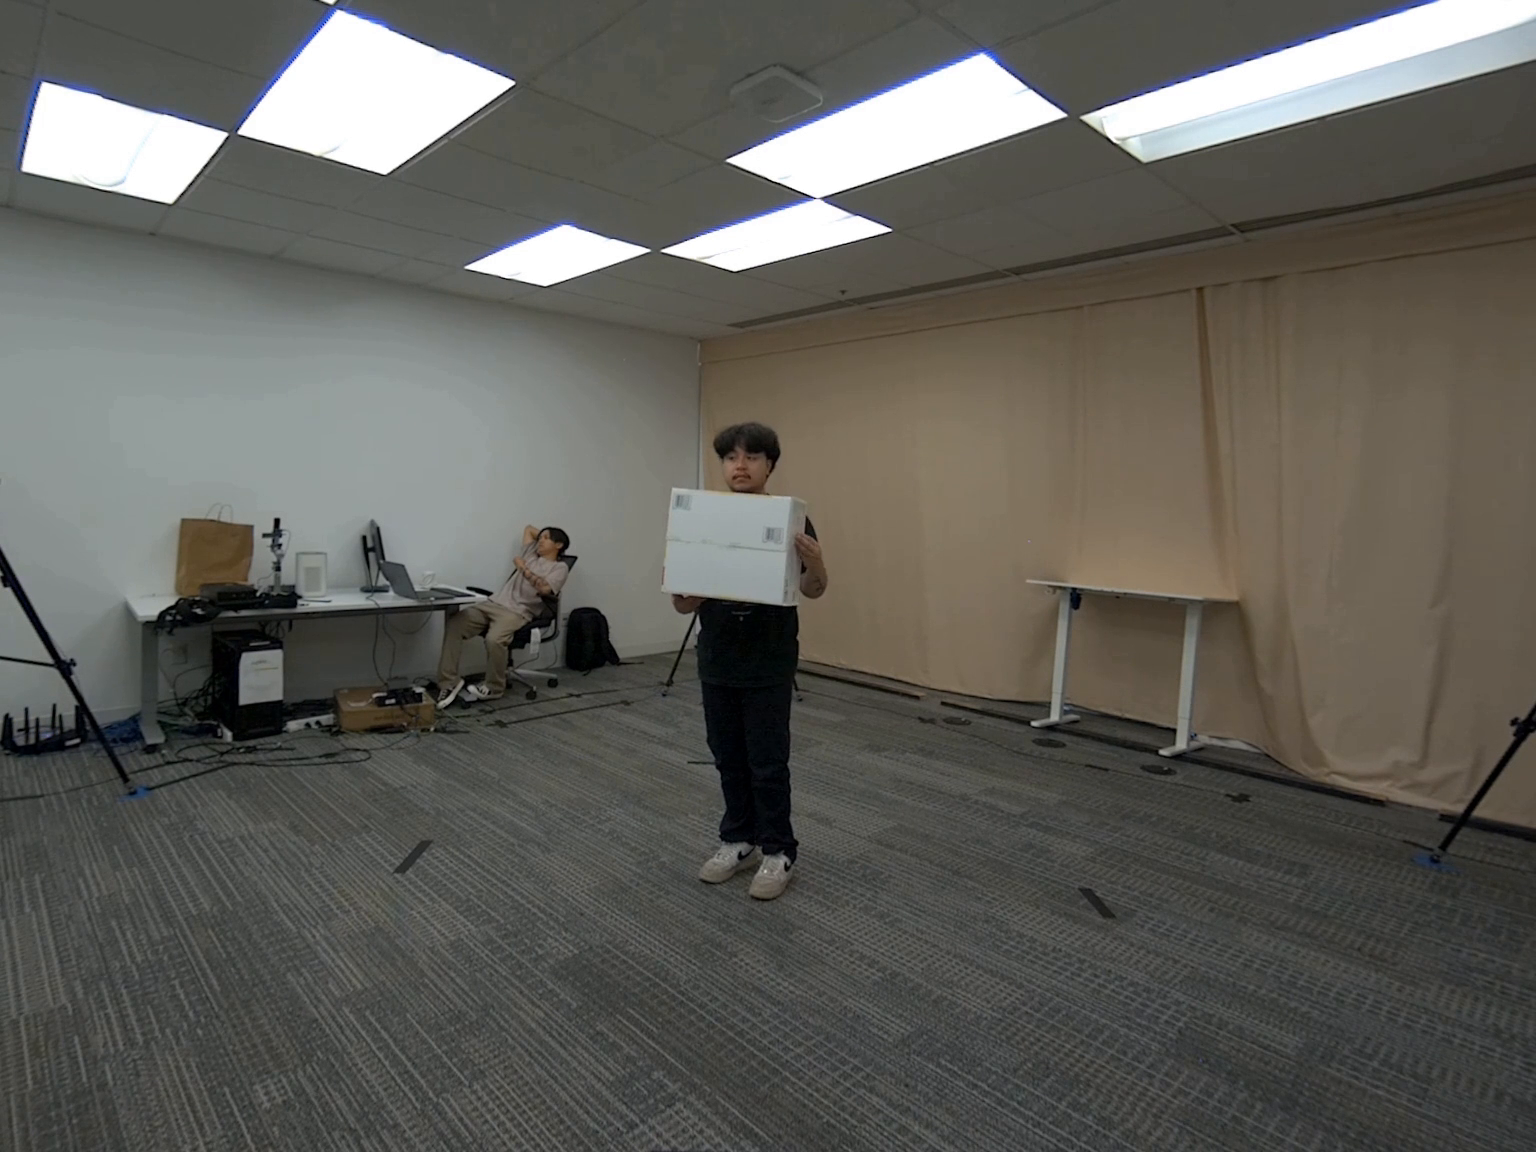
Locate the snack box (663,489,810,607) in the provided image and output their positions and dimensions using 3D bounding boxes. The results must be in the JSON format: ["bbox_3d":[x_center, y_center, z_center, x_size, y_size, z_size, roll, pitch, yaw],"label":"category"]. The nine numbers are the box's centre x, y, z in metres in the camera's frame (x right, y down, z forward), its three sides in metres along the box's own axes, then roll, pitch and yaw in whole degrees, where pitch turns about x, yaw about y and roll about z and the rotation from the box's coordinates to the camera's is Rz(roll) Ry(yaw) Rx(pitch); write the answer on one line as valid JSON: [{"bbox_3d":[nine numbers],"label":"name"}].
[{"bbox_3d":[-0.098,-0.093,2.719,0.411,0.340,0.203,4,0,17],"label":"snack box"}]
